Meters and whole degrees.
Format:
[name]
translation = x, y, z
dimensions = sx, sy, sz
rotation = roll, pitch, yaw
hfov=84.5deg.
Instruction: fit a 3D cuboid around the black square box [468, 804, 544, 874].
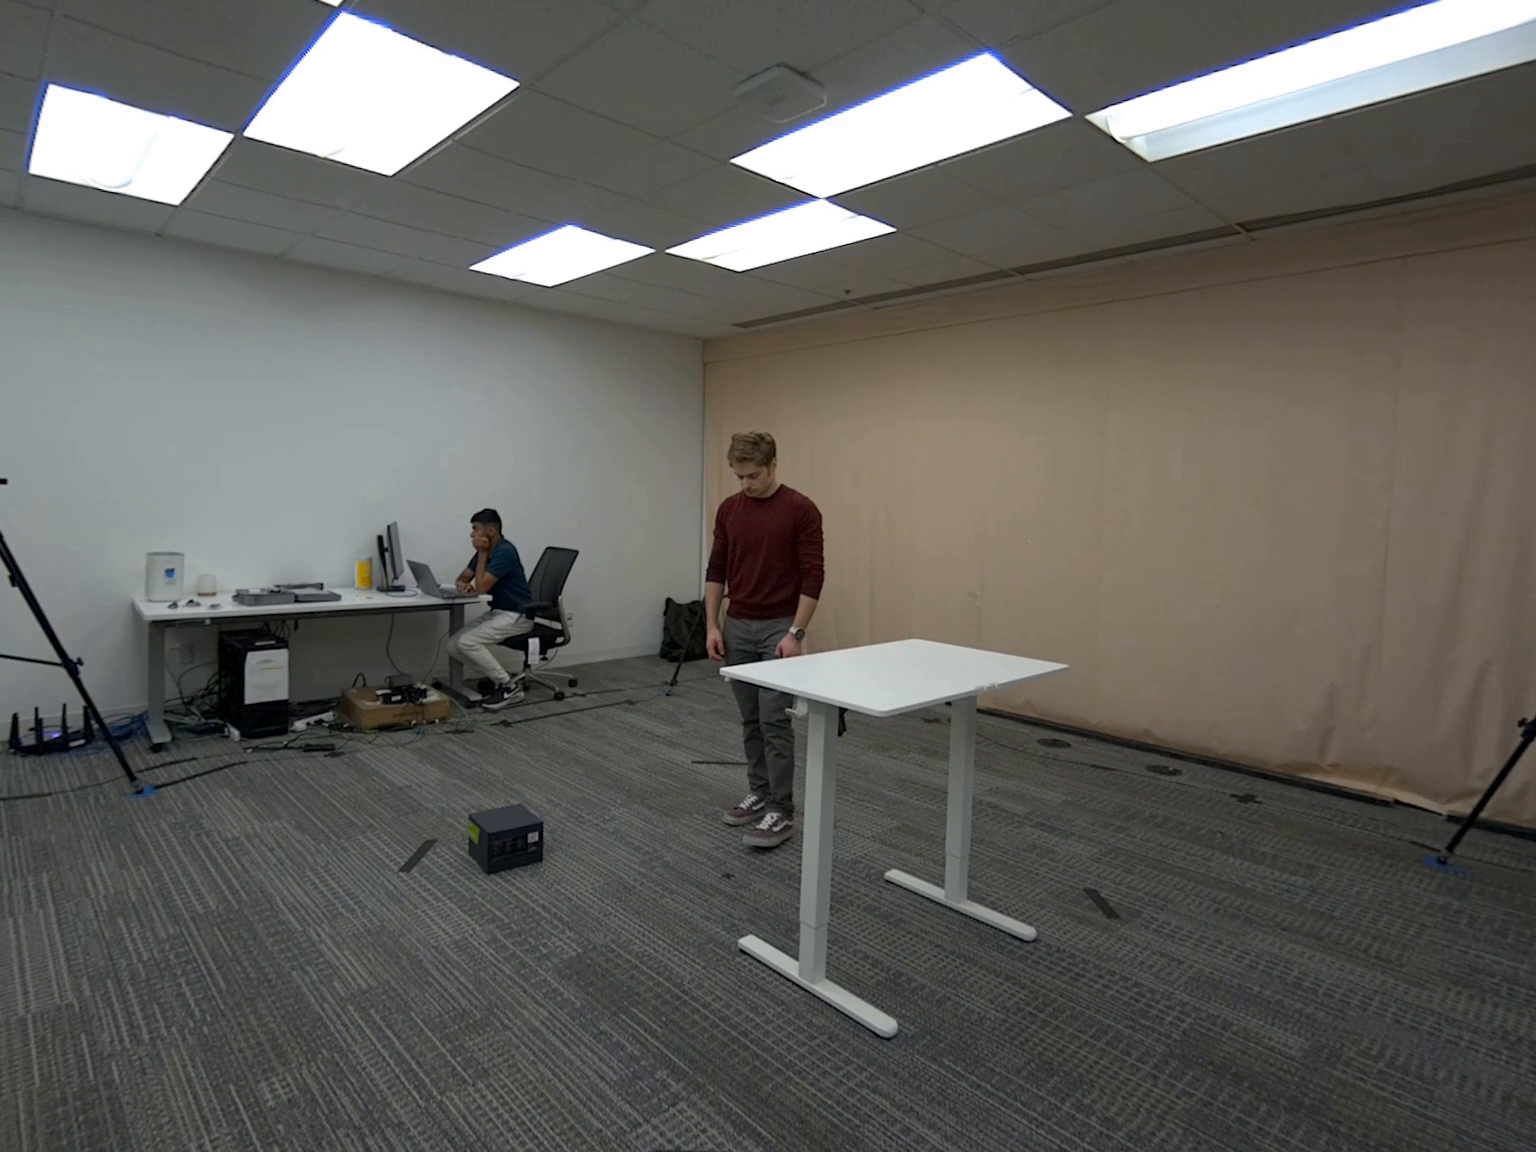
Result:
[black square box]
translation = -1.009, 0.996, 3.210
dimensions = 0.212, 0.155, 0.233
rotation = -2, 6, -37
